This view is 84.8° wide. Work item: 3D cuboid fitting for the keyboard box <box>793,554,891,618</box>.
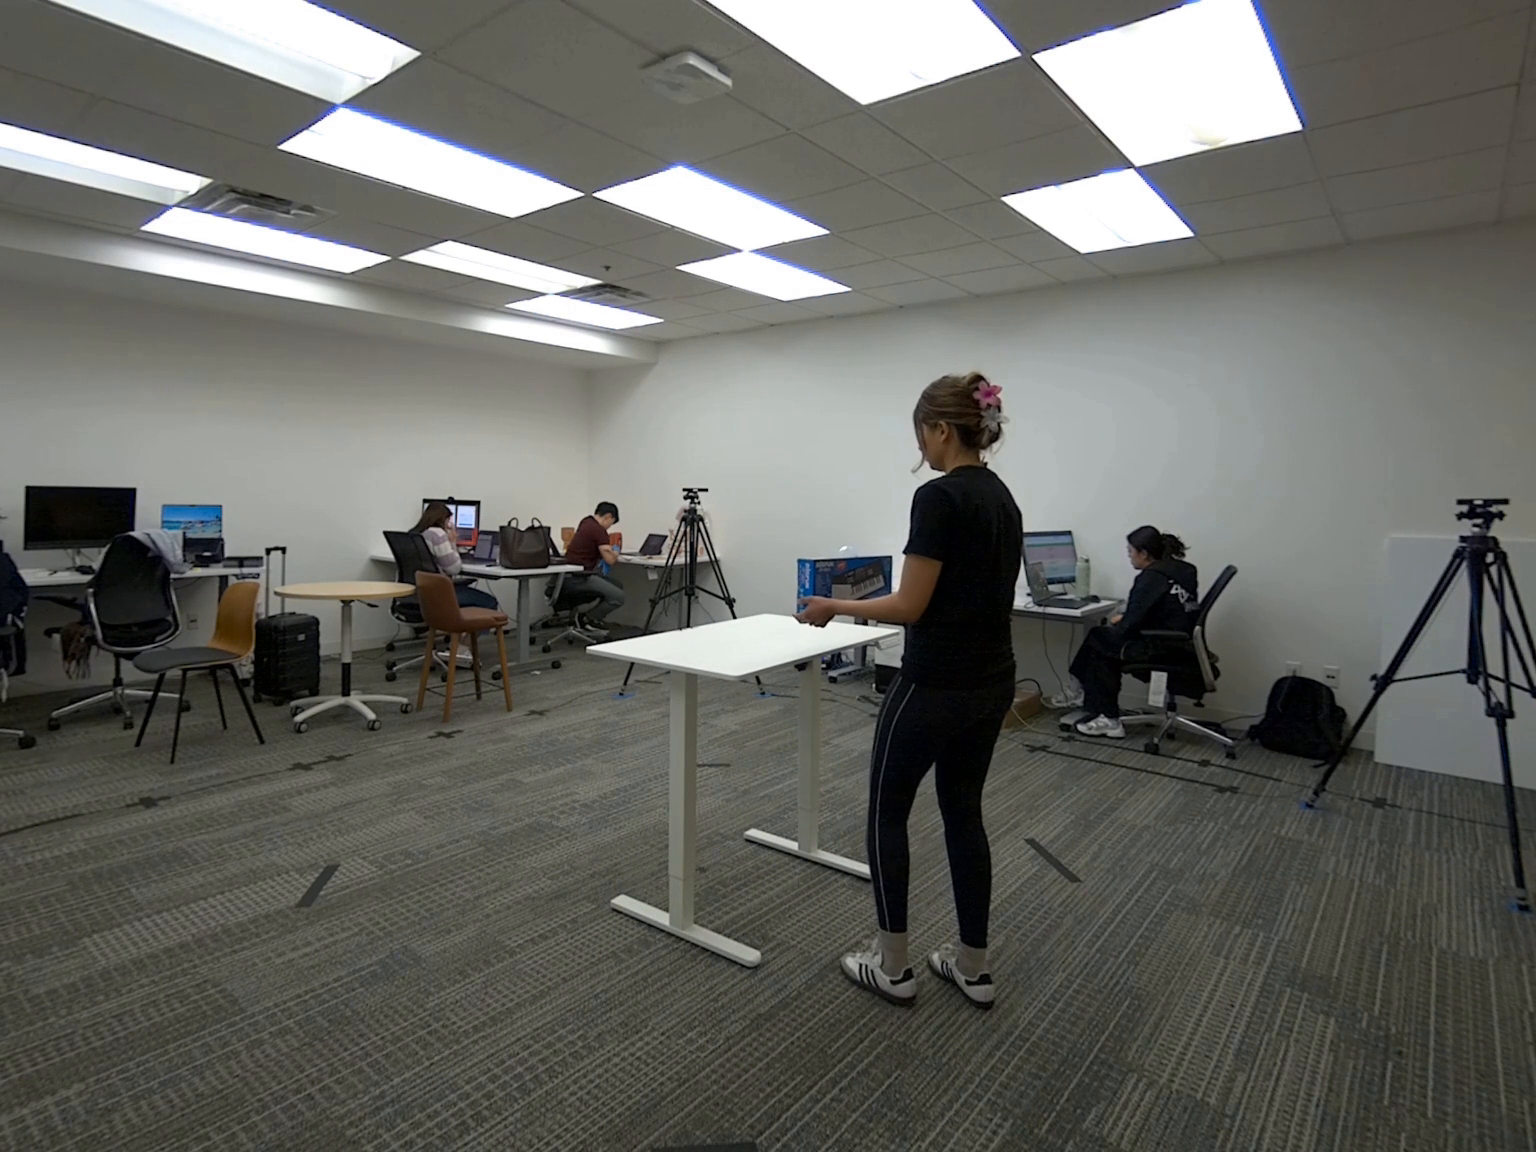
[{"bbox_3d":[0.236,0.027,2.626,0.061,0.175,0.423,3,4,41],"label":"keyboard box"}]
